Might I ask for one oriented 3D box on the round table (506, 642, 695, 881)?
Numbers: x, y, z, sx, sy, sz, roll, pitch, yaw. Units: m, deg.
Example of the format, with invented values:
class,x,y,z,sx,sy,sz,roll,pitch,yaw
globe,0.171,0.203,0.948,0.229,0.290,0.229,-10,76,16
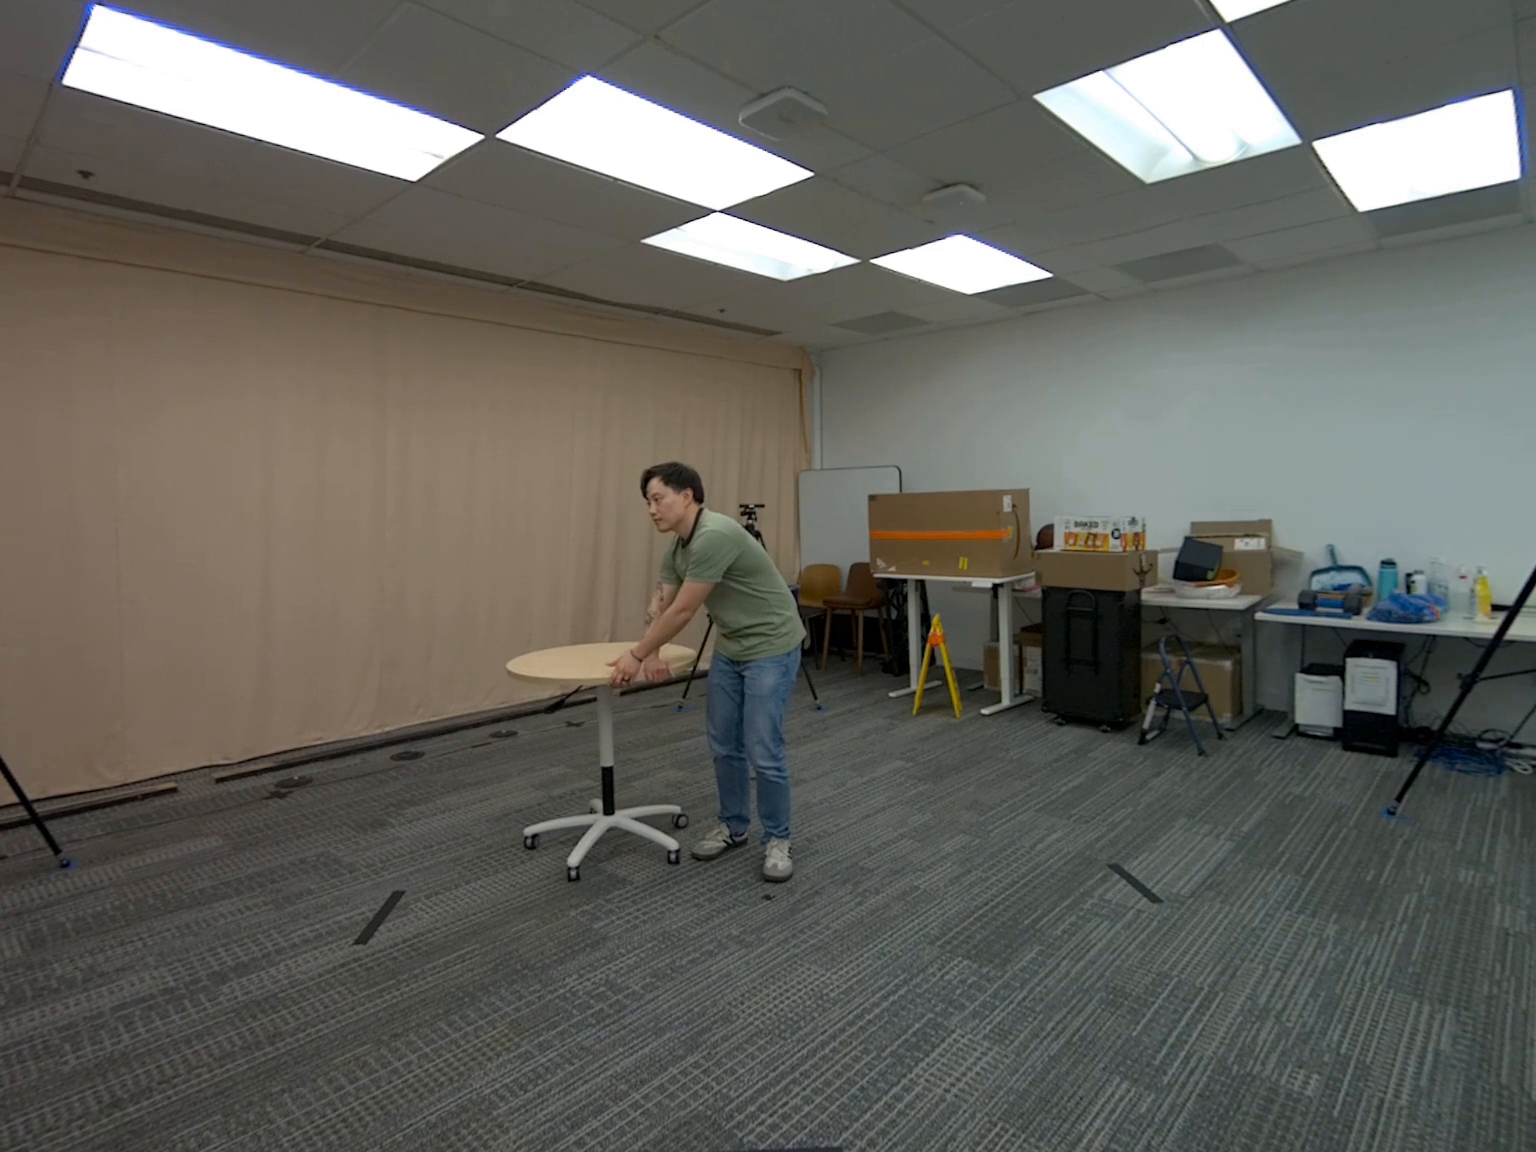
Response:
class,x,y,z,sx,sy,sz,roll,pitch,yaw
round table,-0.653,0.729,3.440,0.763,0.792,0.766,-2,4,-2
